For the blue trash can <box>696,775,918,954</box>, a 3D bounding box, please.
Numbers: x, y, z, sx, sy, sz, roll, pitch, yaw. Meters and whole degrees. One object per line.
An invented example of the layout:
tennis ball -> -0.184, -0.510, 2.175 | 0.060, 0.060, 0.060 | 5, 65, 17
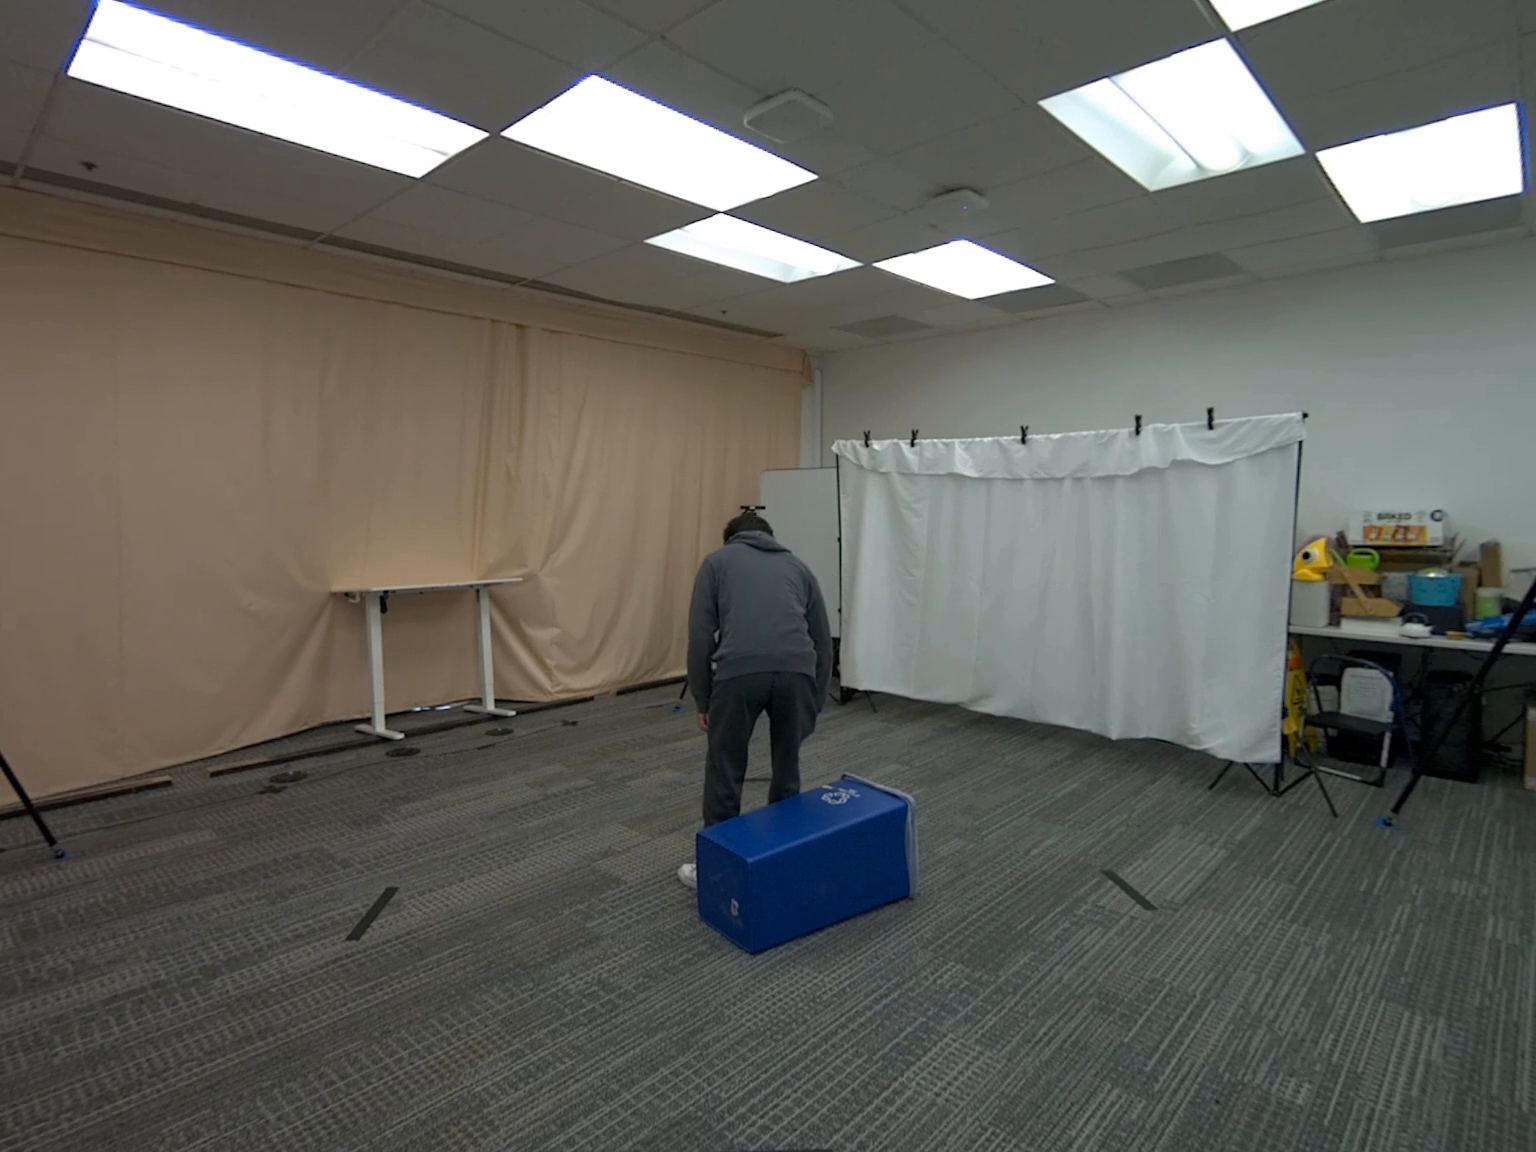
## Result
blue trash can -> 0.143, 0.981, 2.900 | 0.693, 0.377, 0.386 | -7, 7, -37
